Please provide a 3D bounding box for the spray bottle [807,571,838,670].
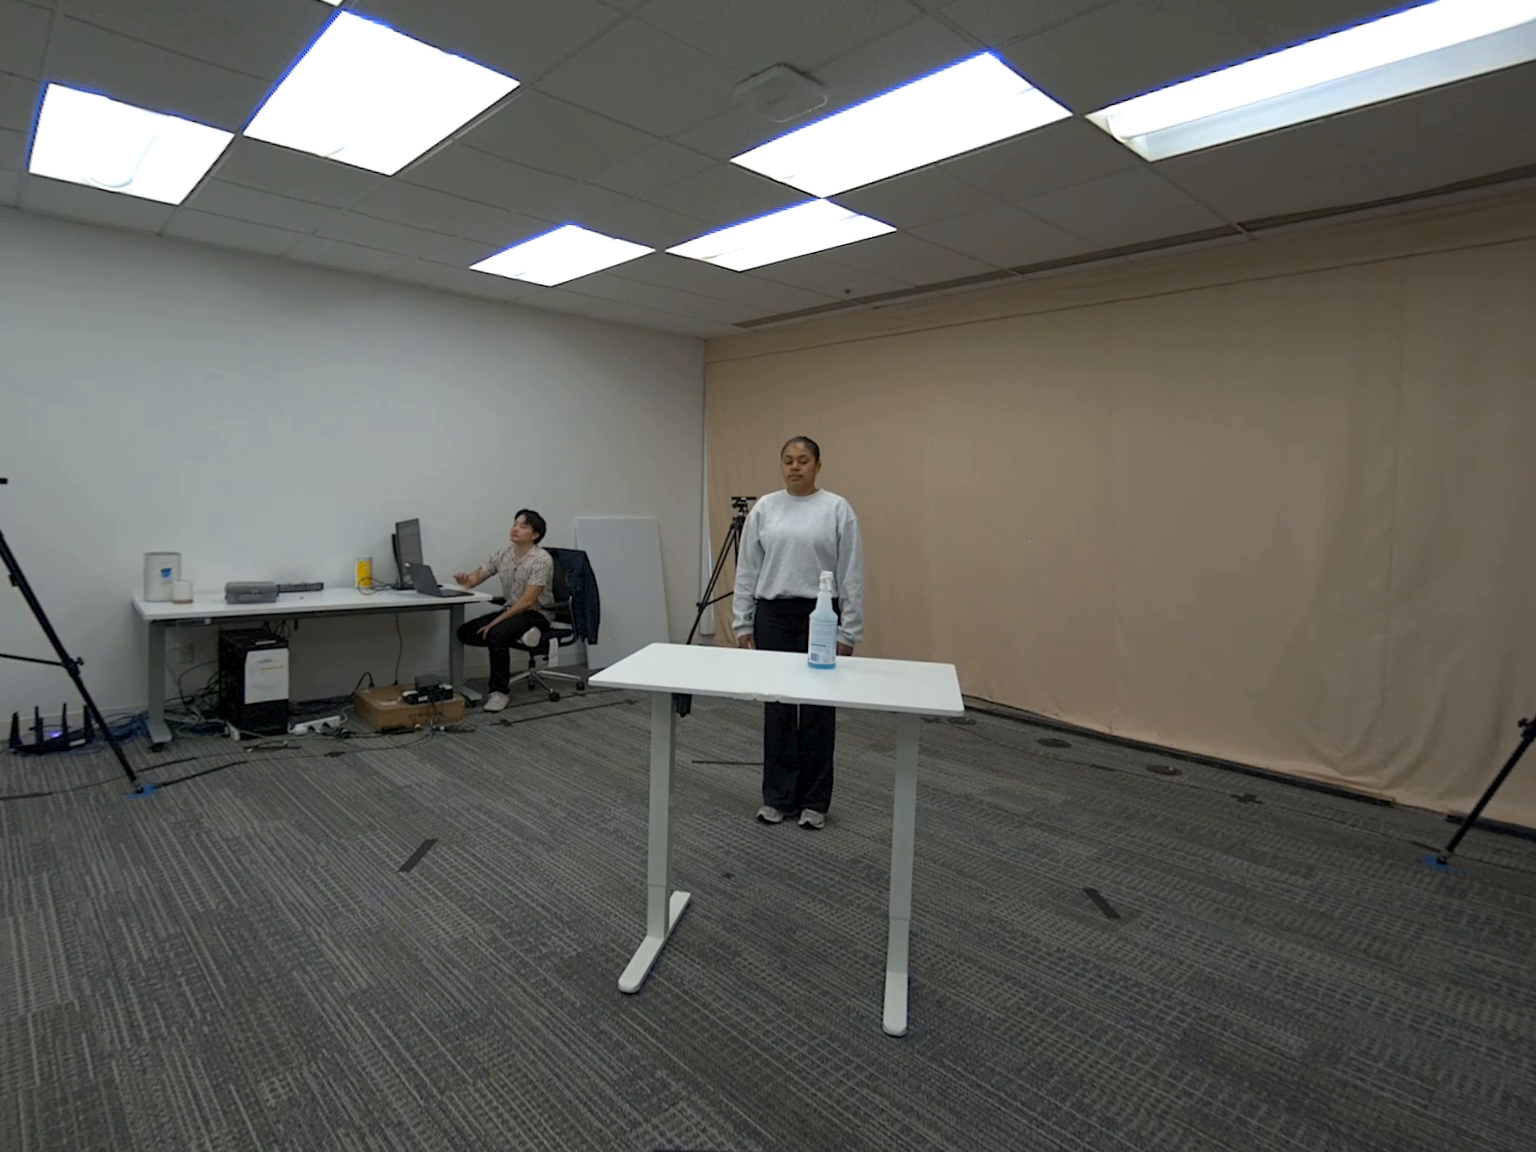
[{"bbox_3d":[0.161,0.136,2.576,0.088,0.296,0.089,3,4,14],"label":"spray bottle"}]
